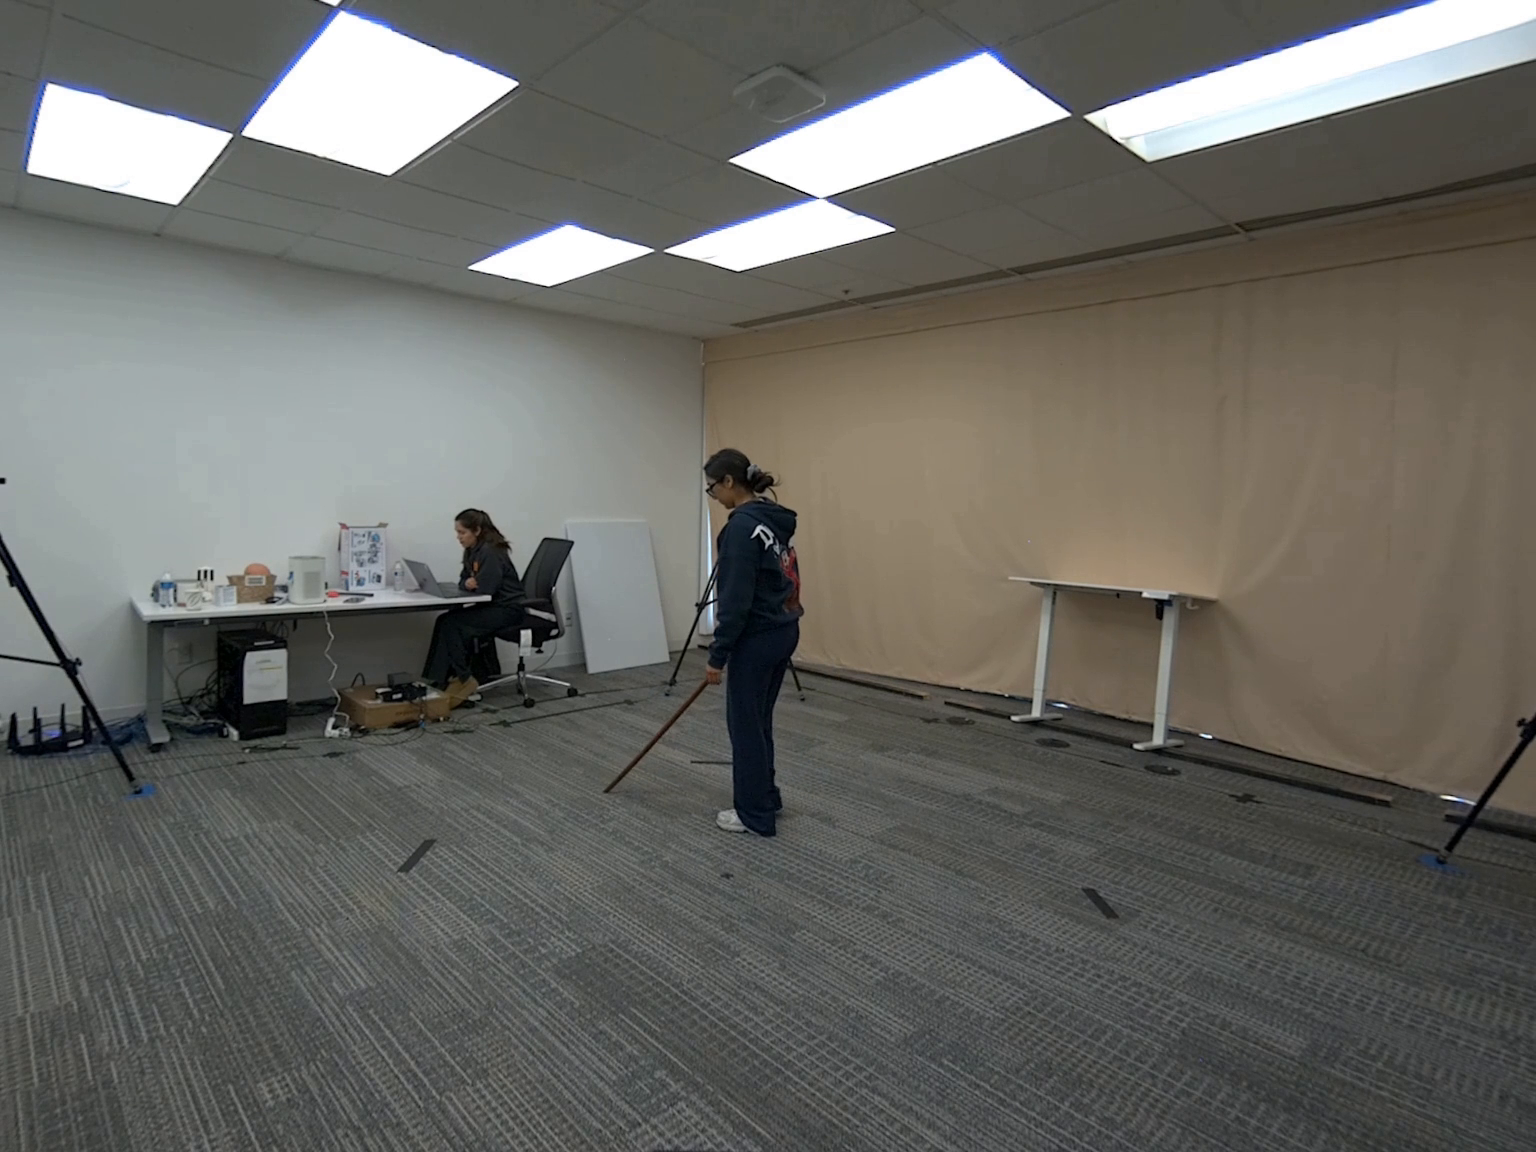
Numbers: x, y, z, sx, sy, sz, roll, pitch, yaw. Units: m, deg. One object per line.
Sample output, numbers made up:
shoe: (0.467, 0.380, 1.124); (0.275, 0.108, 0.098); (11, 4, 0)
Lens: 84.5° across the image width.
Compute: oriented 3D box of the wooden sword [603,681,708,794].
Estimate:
wooden sword: (-0.426, 0.642, 3.900); (0.053, 1.024, 0.023); (45, 5, 40)
